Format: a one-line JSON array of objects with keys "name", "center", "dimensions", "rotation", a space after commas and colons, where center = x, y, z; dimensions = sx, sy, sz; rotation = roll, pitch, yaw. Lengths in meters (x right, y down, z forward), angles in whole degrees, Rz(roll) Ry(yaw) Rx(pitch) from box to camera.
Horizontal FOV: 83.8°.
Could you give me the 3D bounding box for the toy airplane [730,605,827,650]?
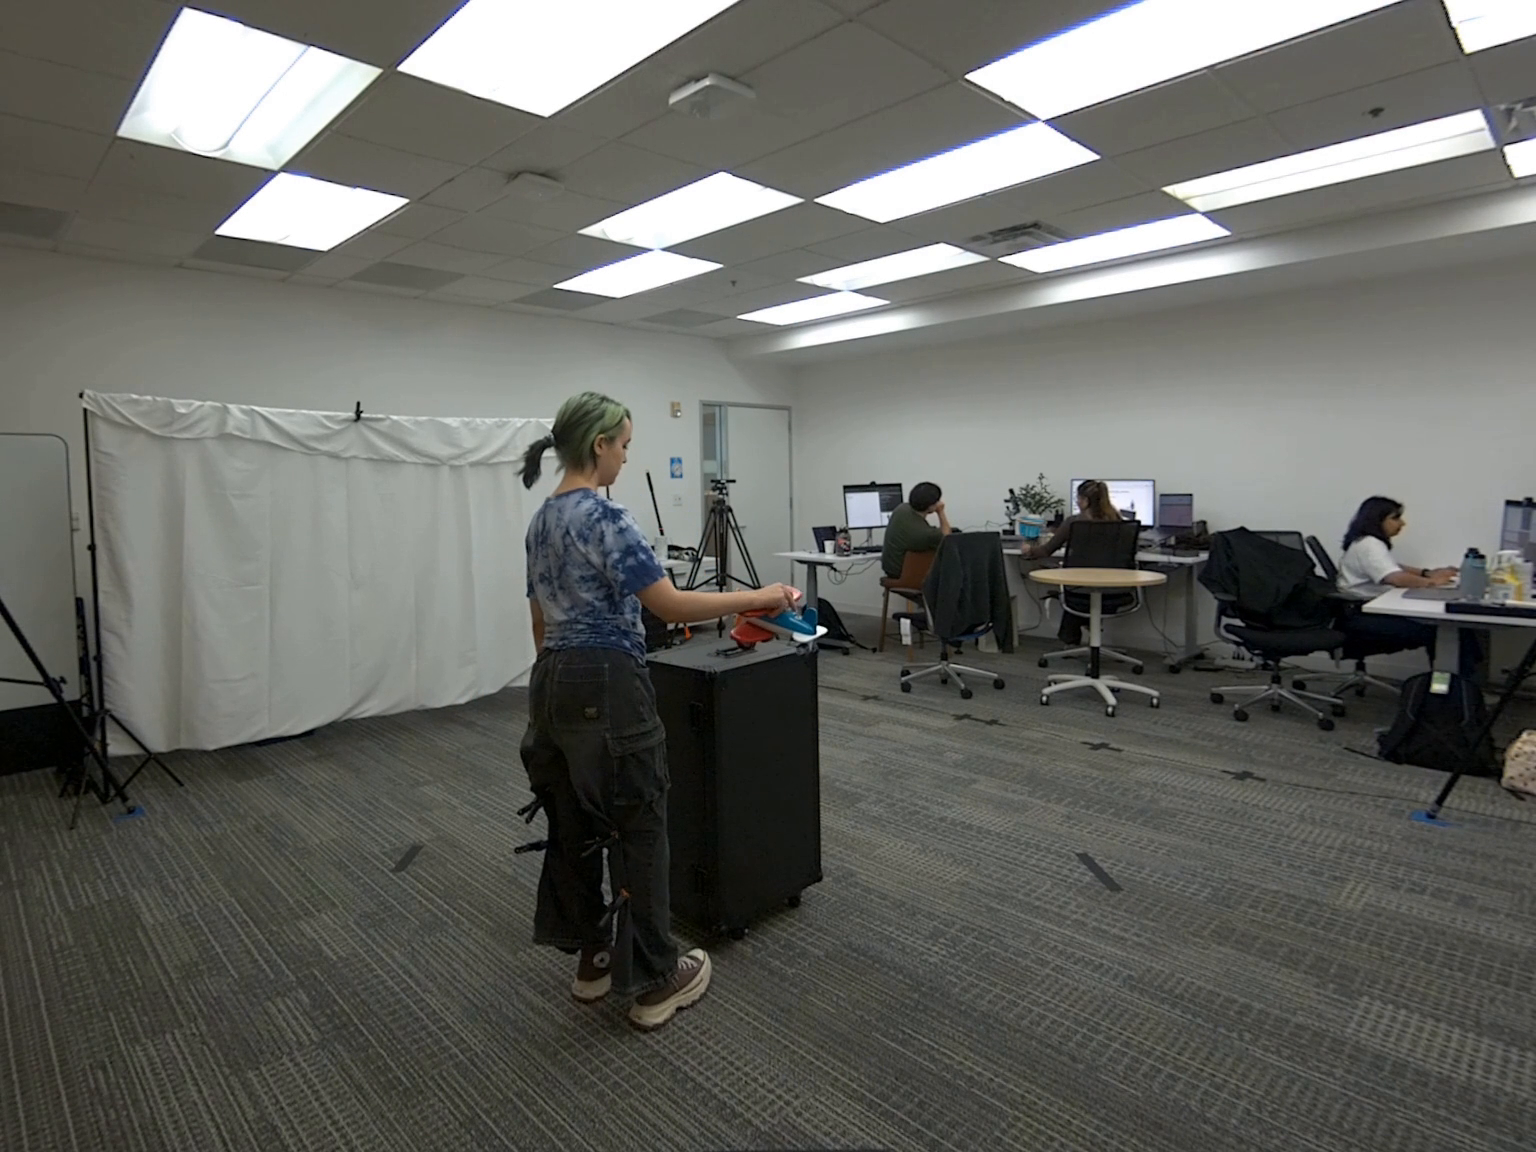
[{"name": "toy airplane", "center": [0.045, 0.120, 2.361], "dimensions": [0.261, 0.155, 0.250], "rotation": [-5, 7, 9]}]
